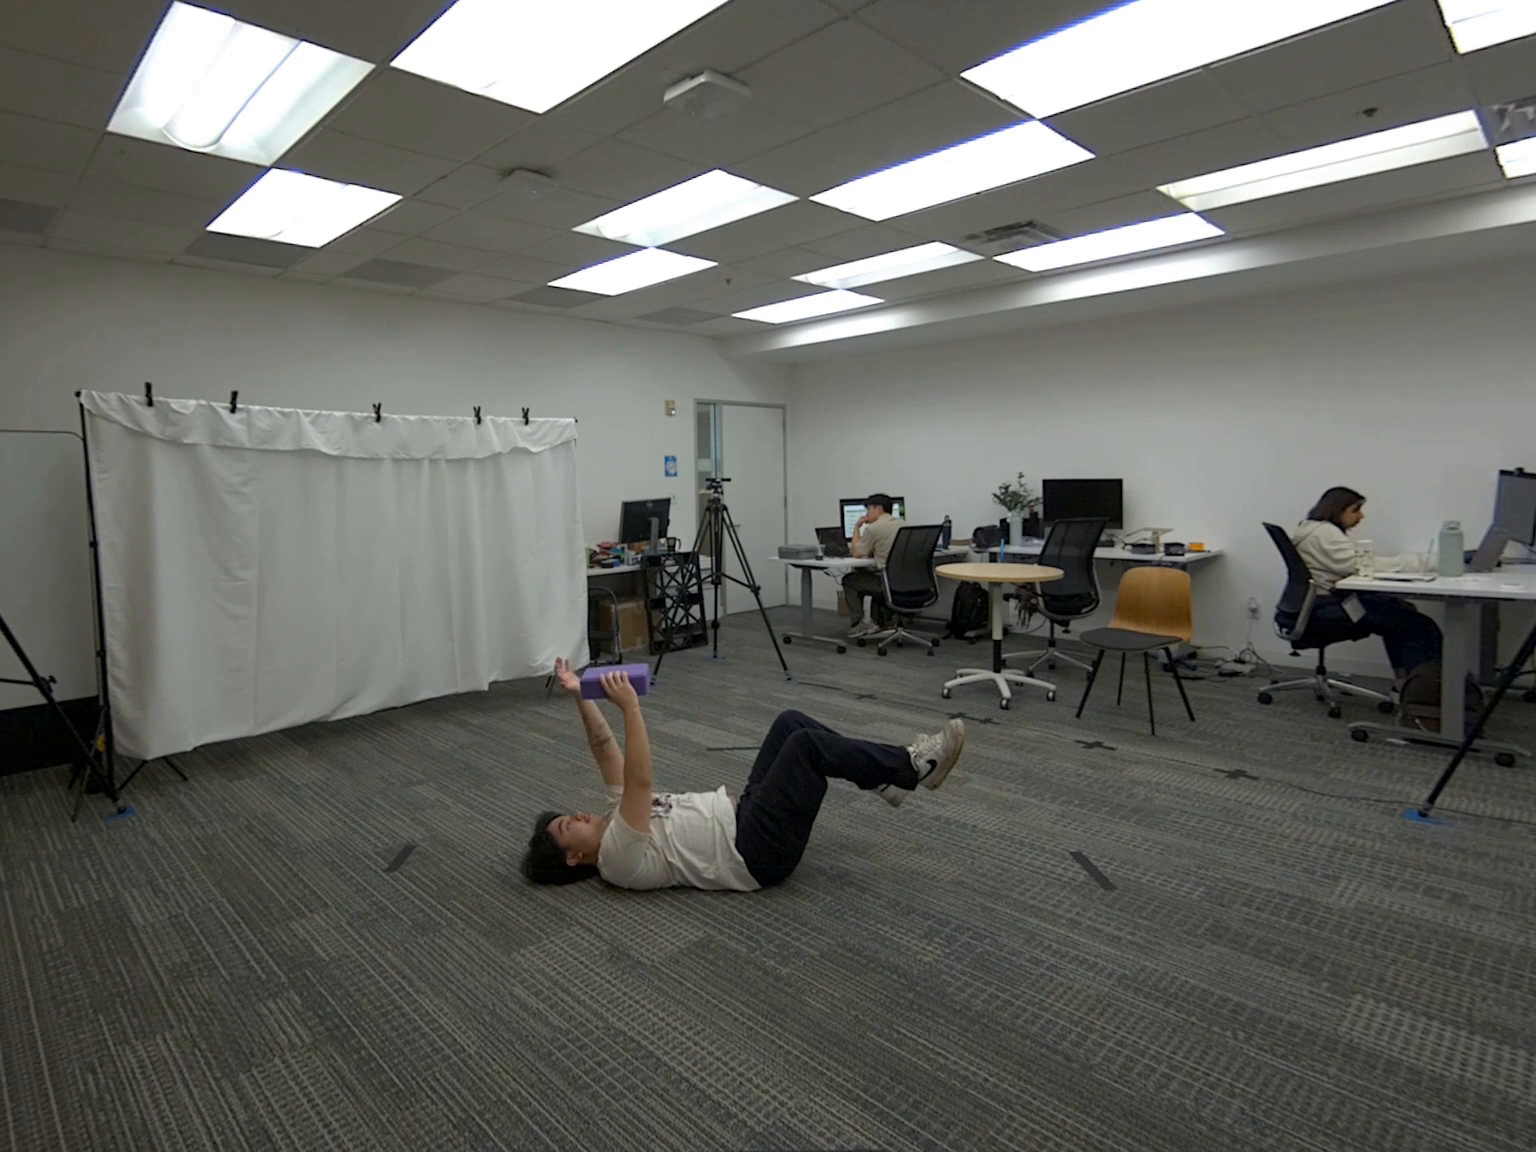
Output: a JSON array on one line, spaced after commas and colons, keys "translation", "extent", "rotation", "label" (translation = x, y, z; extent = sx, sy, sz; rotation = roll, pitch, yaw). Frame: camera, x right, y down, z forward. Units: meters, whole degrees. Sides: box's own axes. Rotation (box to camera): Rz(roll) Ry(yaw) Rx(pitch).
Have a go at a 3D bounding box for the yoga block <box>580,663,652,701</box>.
[{"translation": [-0.543, 0.375, 2.997], "extent": [0.230, 0.076, 0.150], "rotation": [-4, 10, 1], "label": "yoga block"}]
